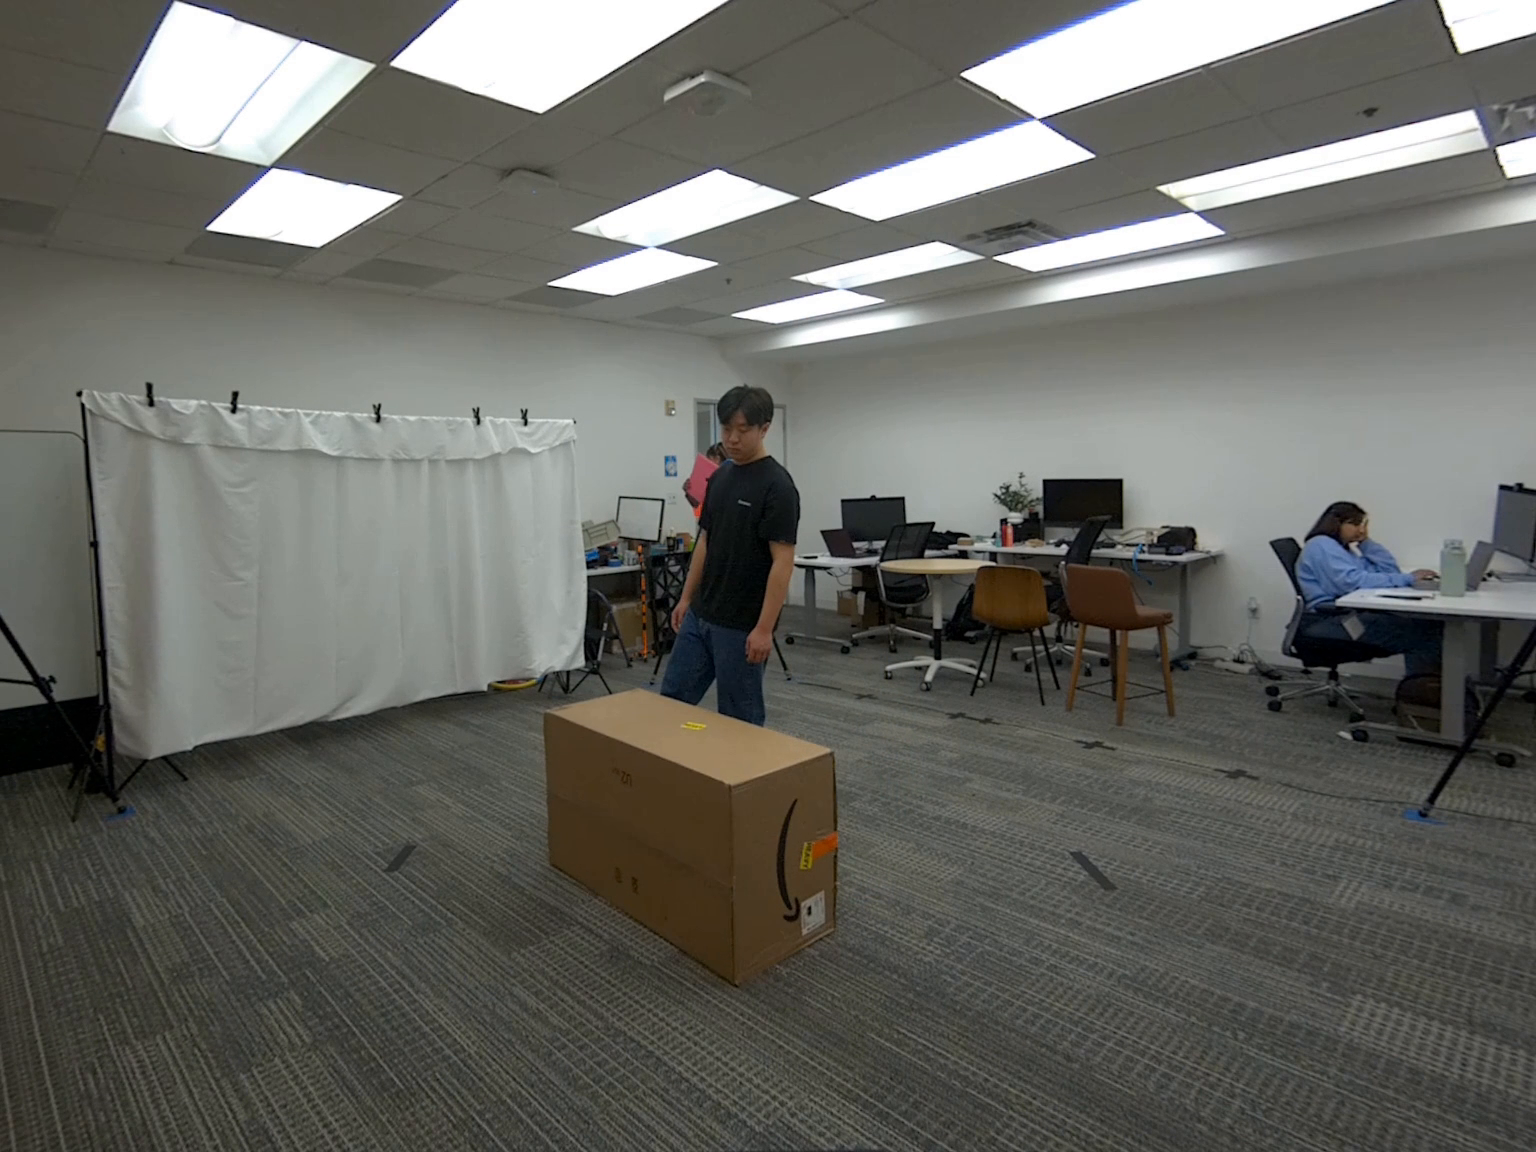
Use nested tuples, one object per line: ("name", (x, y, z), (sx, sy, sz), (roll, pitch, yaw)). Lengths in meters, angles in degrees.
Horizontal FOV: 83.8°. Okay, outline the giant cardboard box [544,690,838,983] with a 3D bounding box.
("giant cardboard box", (-0.294, 0.790, 2.855), (0.435, 0.582, 1.059), (-4, 7, -43))
